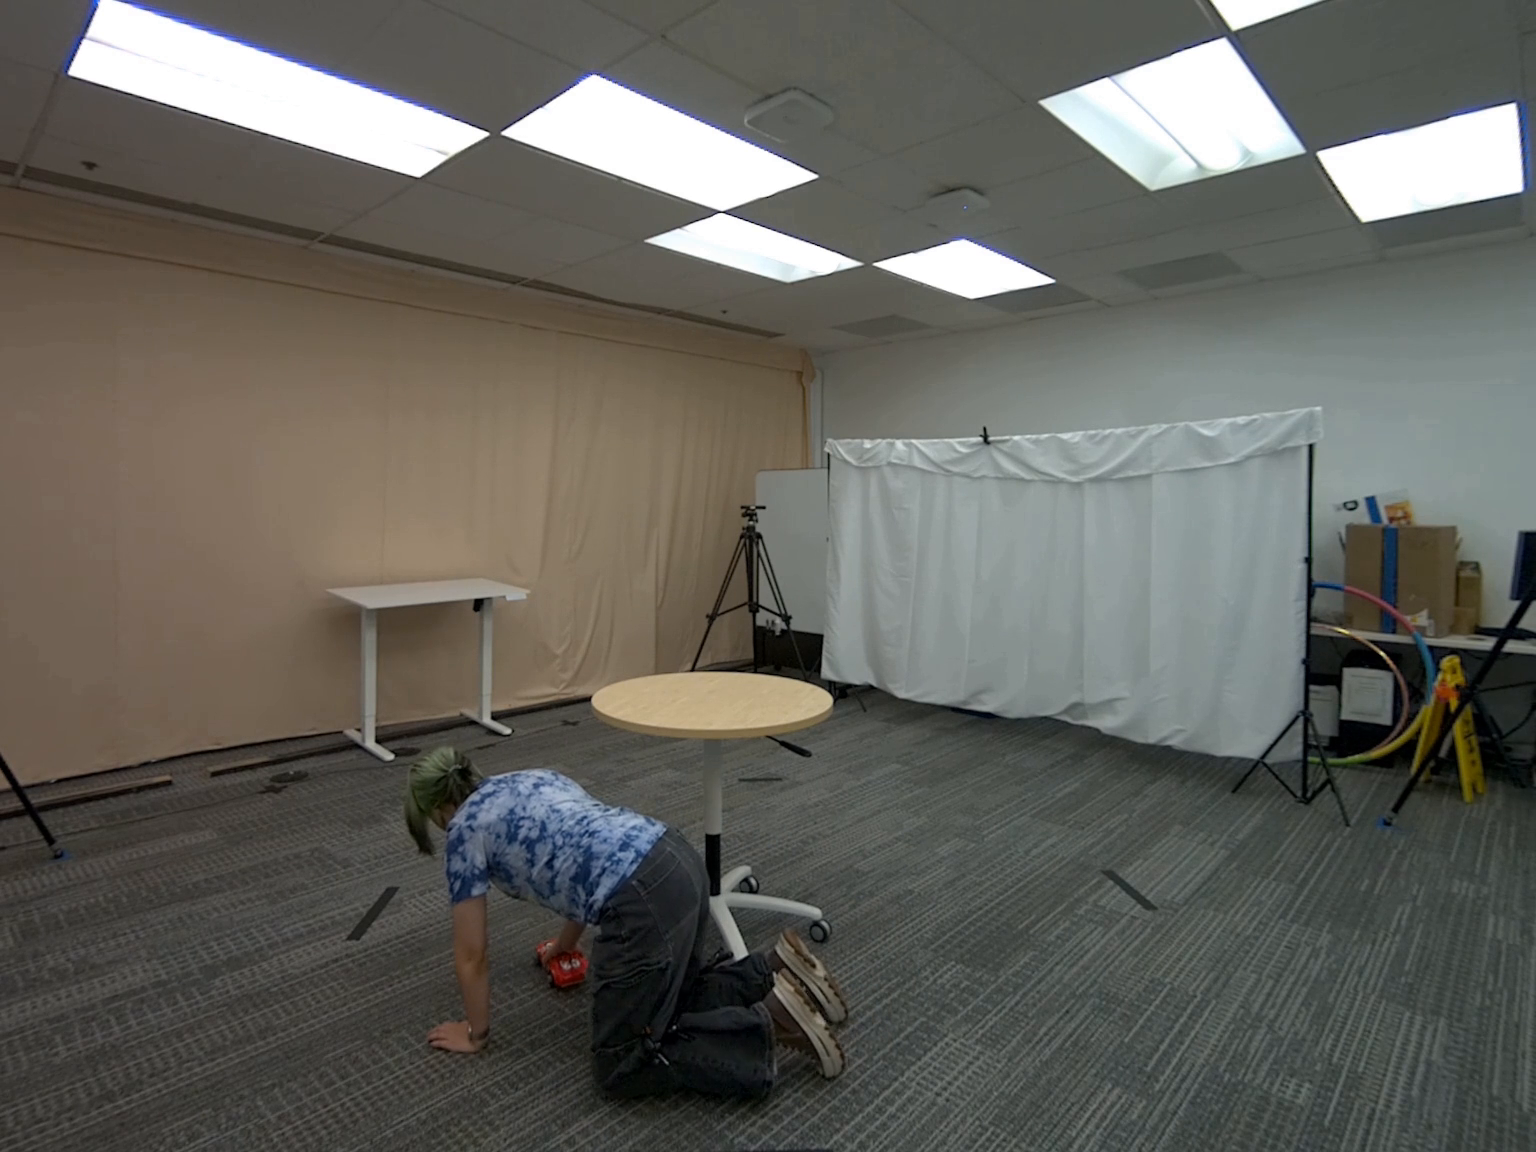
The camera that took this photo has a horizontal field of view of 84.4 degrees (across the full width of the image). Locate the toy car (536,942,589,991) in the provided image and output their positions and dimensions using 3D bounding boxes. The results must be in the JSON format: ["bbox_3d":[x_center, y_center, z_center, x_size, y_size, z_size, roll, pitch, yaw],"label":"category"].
[{"bbox_3d":[-0.608,1.161,2.498,0.127,0.083,0.260,-3,-6,-31],"label":"toy car"}]
